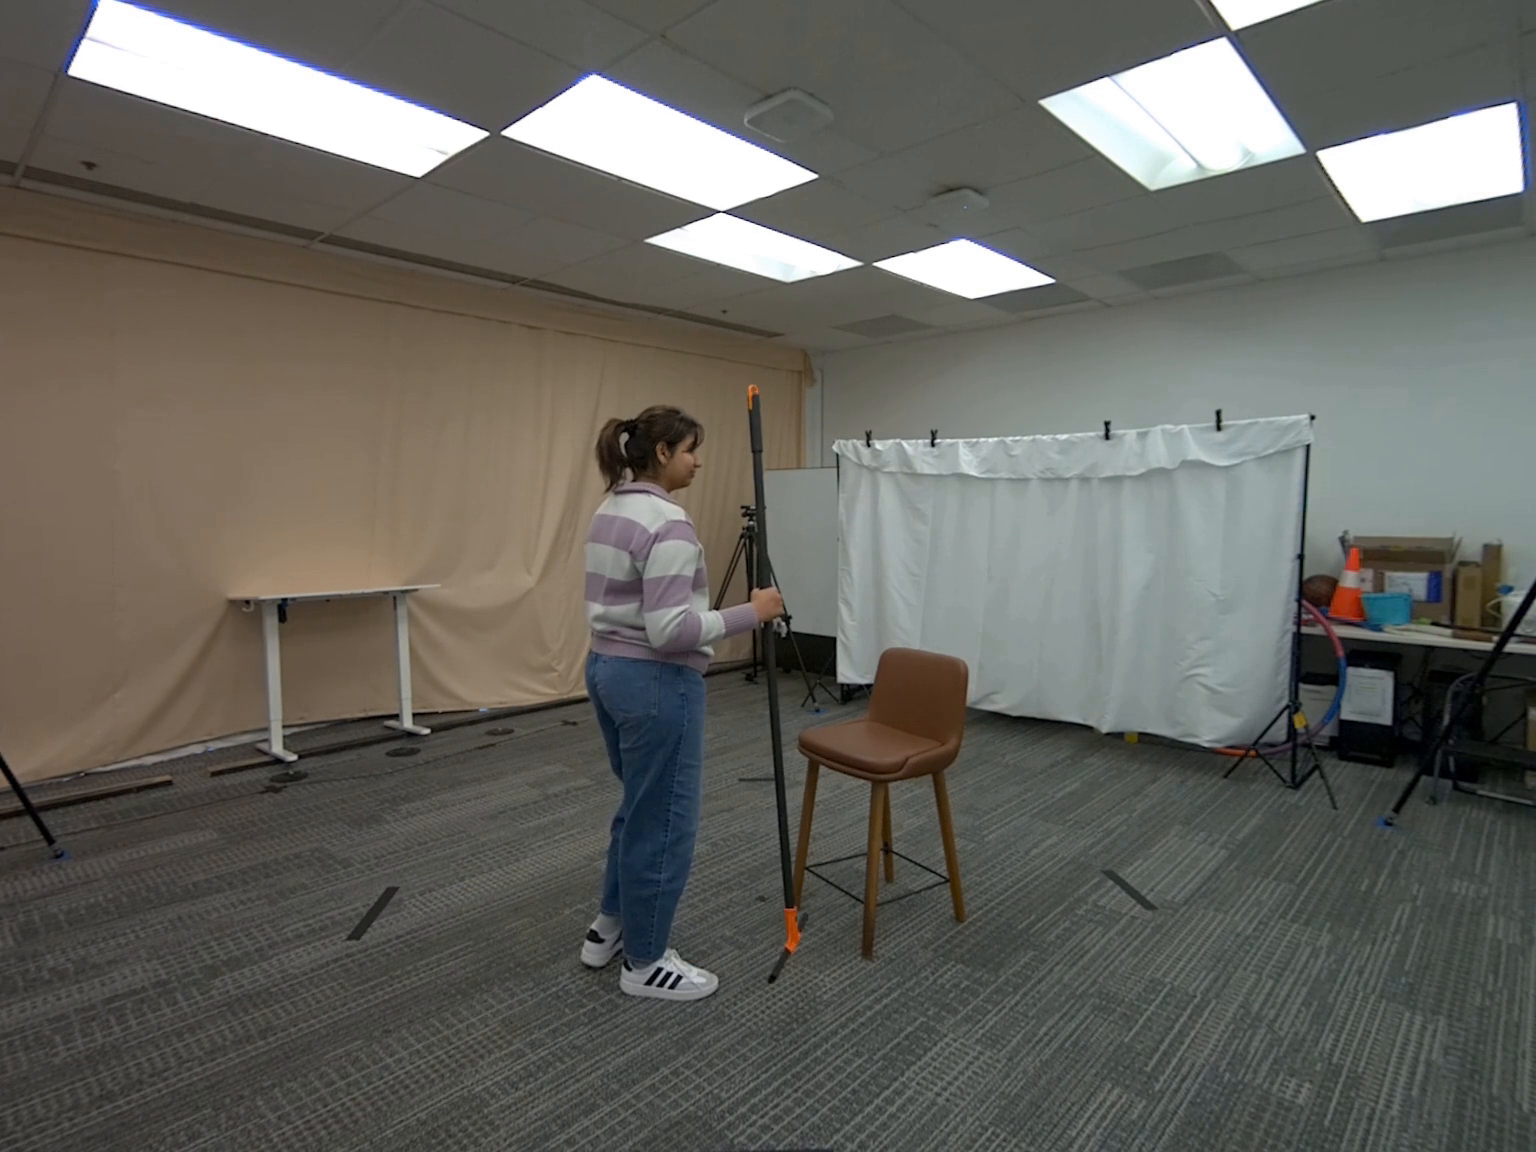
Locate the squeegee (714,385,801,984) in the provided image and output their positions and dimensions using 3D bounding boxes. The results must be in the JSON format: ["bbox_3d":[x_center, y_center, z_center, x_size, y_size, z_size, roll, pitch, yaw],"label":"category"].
[{"bbox_3d":[0.007,0.243,2.275,0.054,1.543,0.428,-5,-5,18],"label":"squeegee"}]
